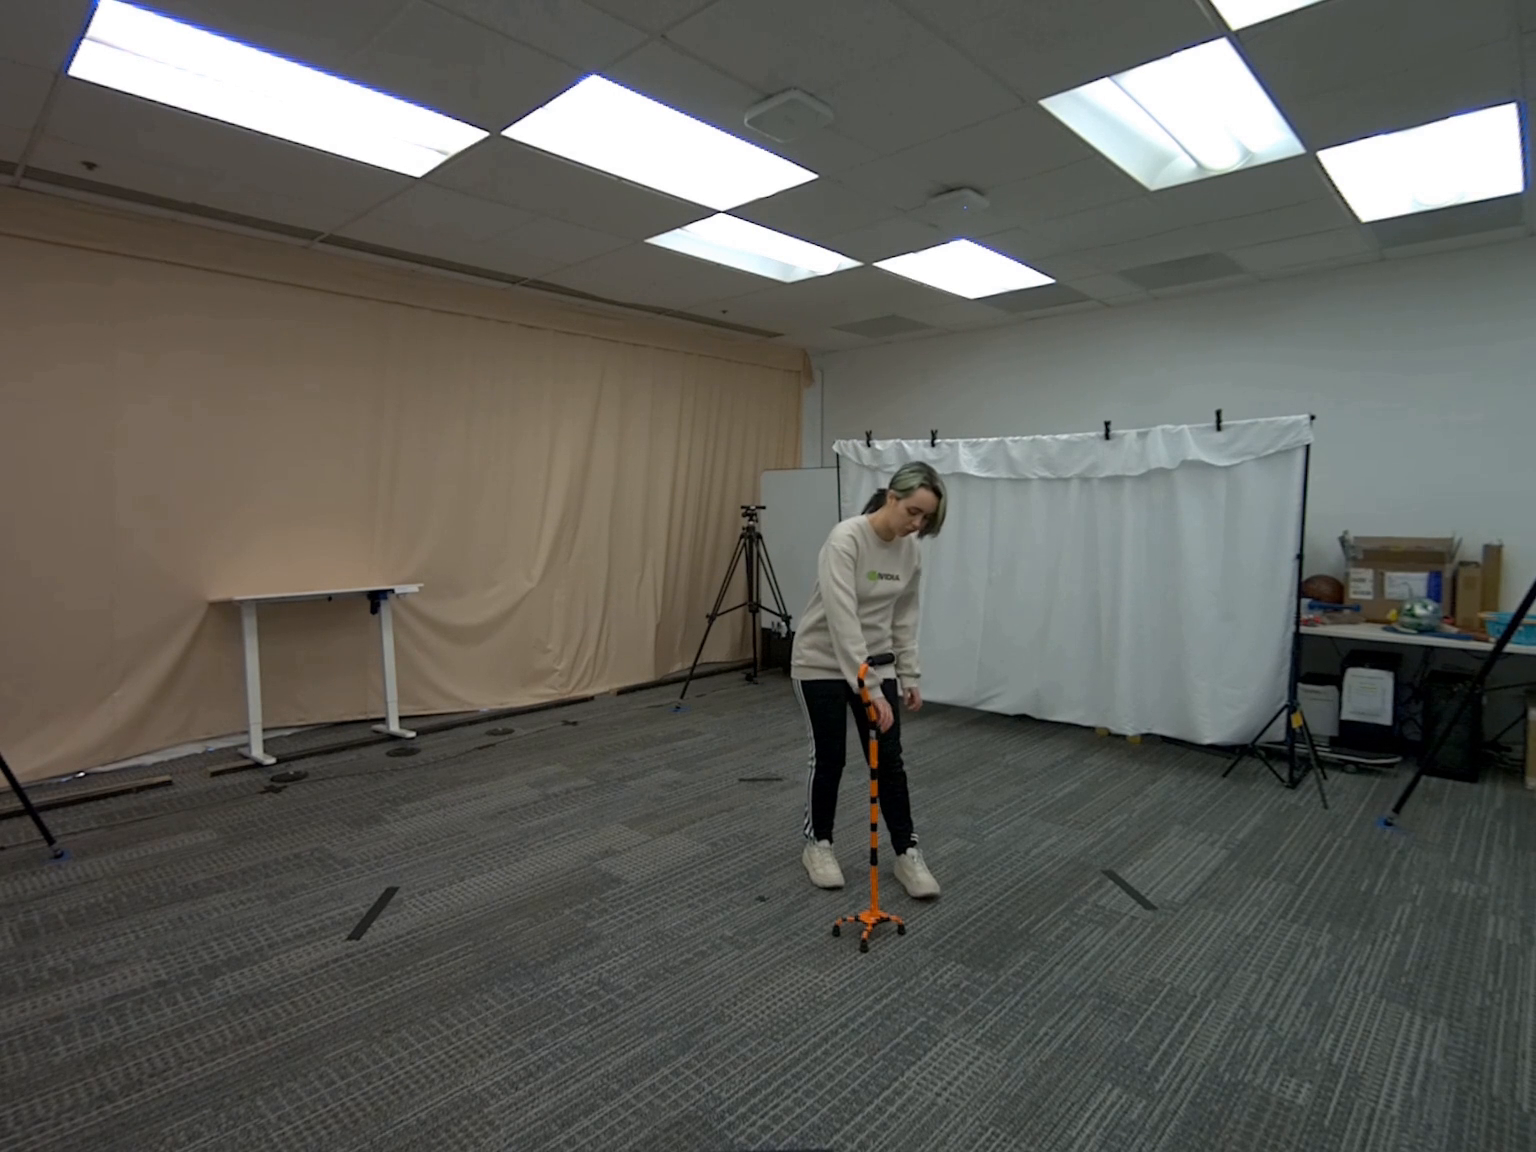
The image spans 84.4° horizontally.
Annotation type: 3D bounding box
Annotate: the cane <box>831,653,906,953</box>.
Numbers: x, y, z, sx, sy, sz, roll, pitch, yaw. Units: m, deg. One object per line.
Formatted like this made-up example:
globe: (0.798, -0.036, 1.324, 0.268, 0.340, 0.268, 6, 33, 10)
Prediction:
cane: (0.328, 0.711, 2.708, 0.200, 0.906, 0.156, -4, 5, -38)
